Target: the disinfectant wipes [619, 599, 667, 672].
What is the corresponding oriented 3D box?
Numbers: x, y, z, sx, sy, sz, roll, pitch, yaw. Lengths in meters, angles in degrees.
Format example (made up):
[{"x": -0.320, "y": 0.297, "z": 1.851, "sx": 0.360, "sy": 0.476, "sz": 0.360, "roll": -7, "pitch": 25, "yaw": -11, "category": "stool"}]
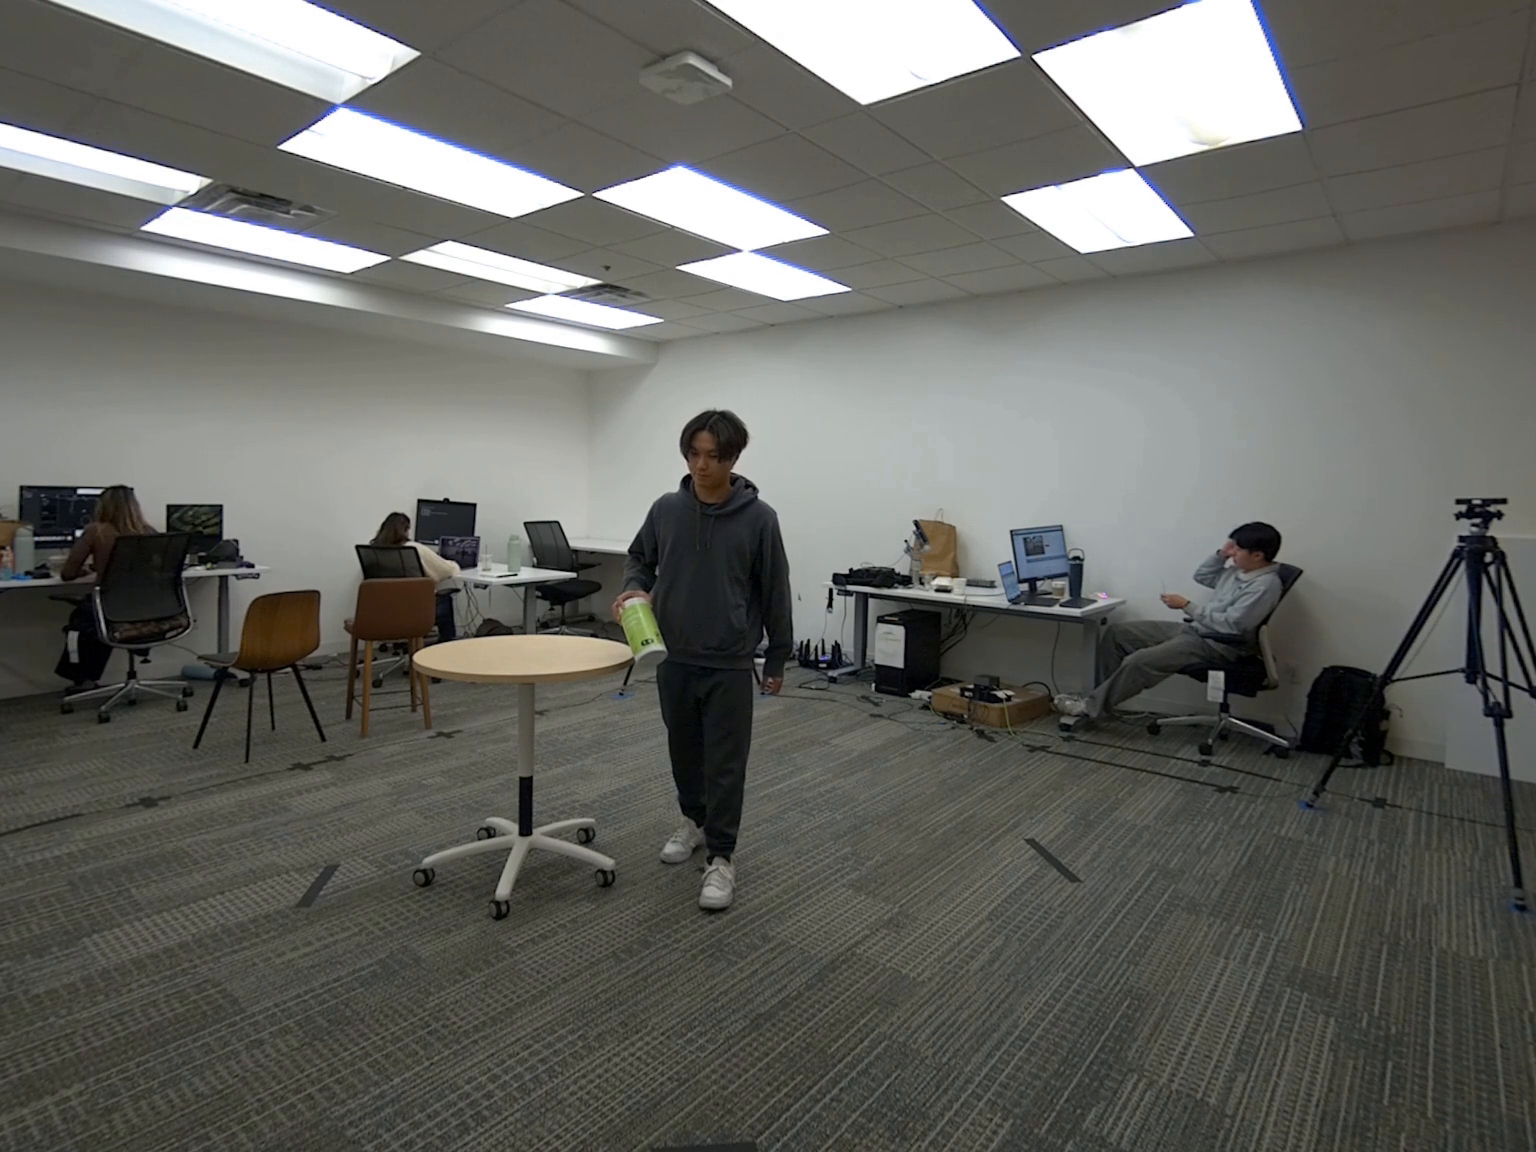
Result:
[{"x": -0.434, "y": 0.185, "z": 2.823, "sx": 0.117, "sy": 0.225, "sz": 0.115, "roll": -16, "pitch": -30, "yaw": -11, "category": "disinfectant wipes"}]
